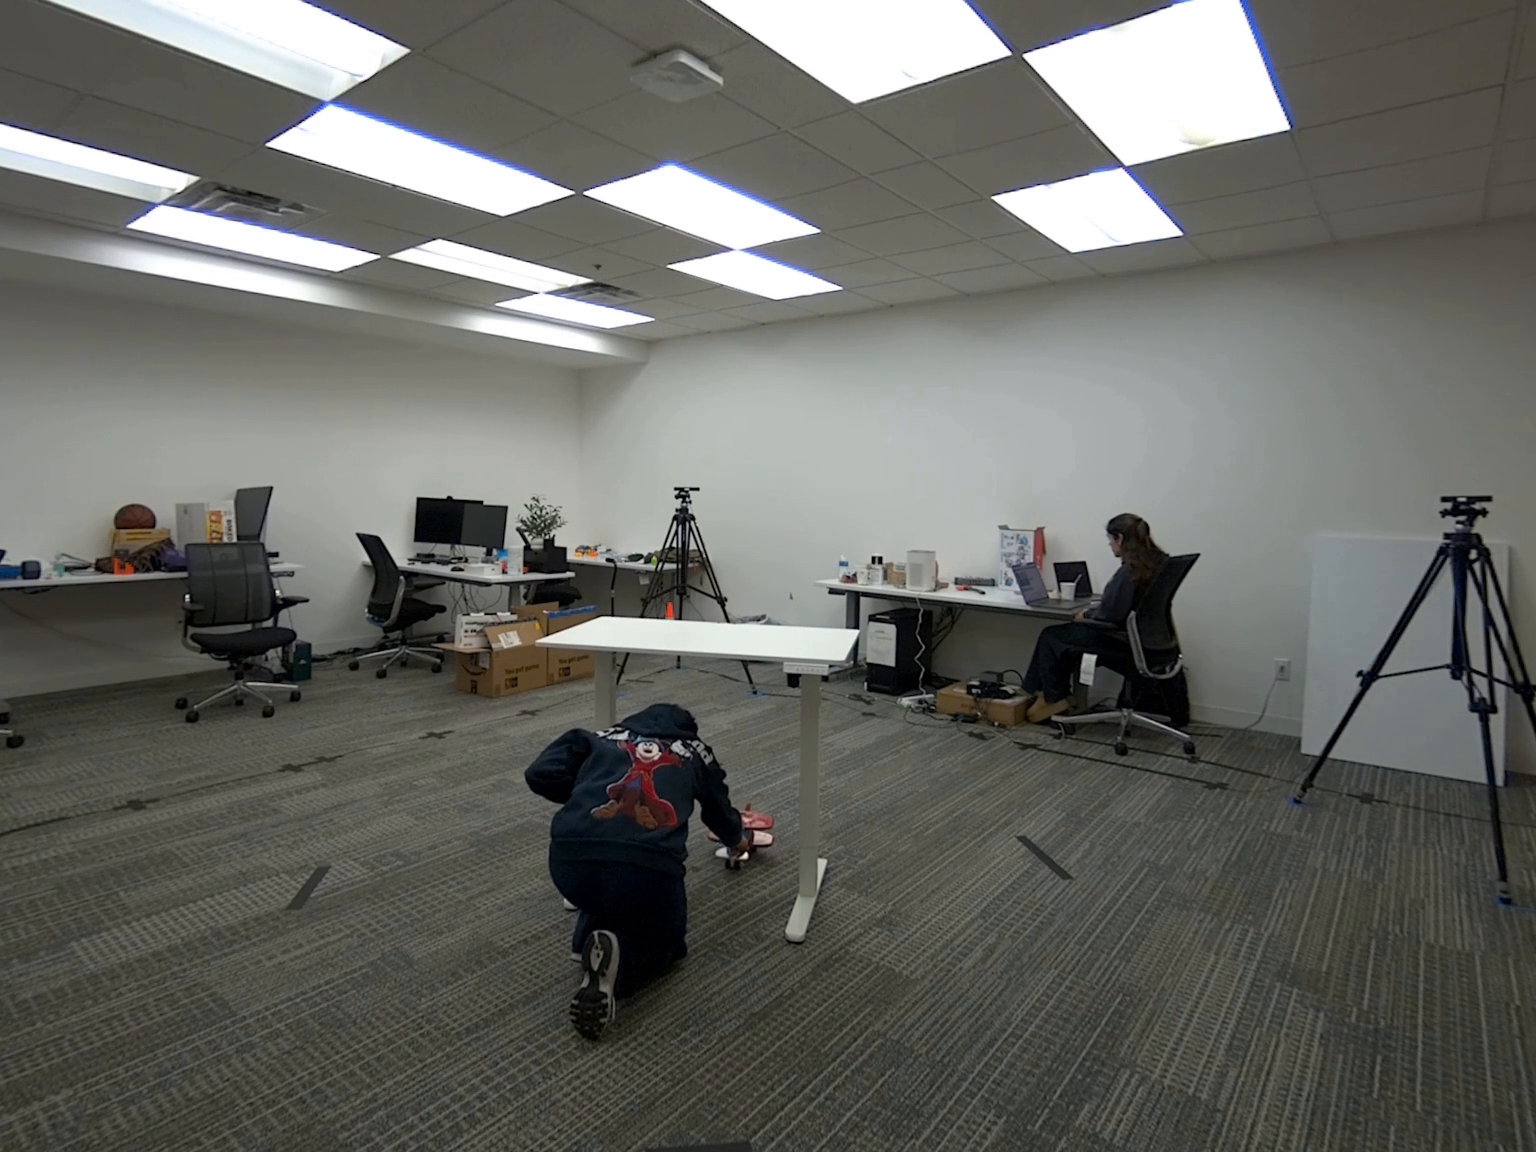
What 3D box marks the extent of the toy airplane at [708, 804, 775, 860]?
[{"bbox_3d":[-0.088,0.984,3.189,0.247,0.156,0.265,-2,5,-18],"label":"toy airplane"}]
